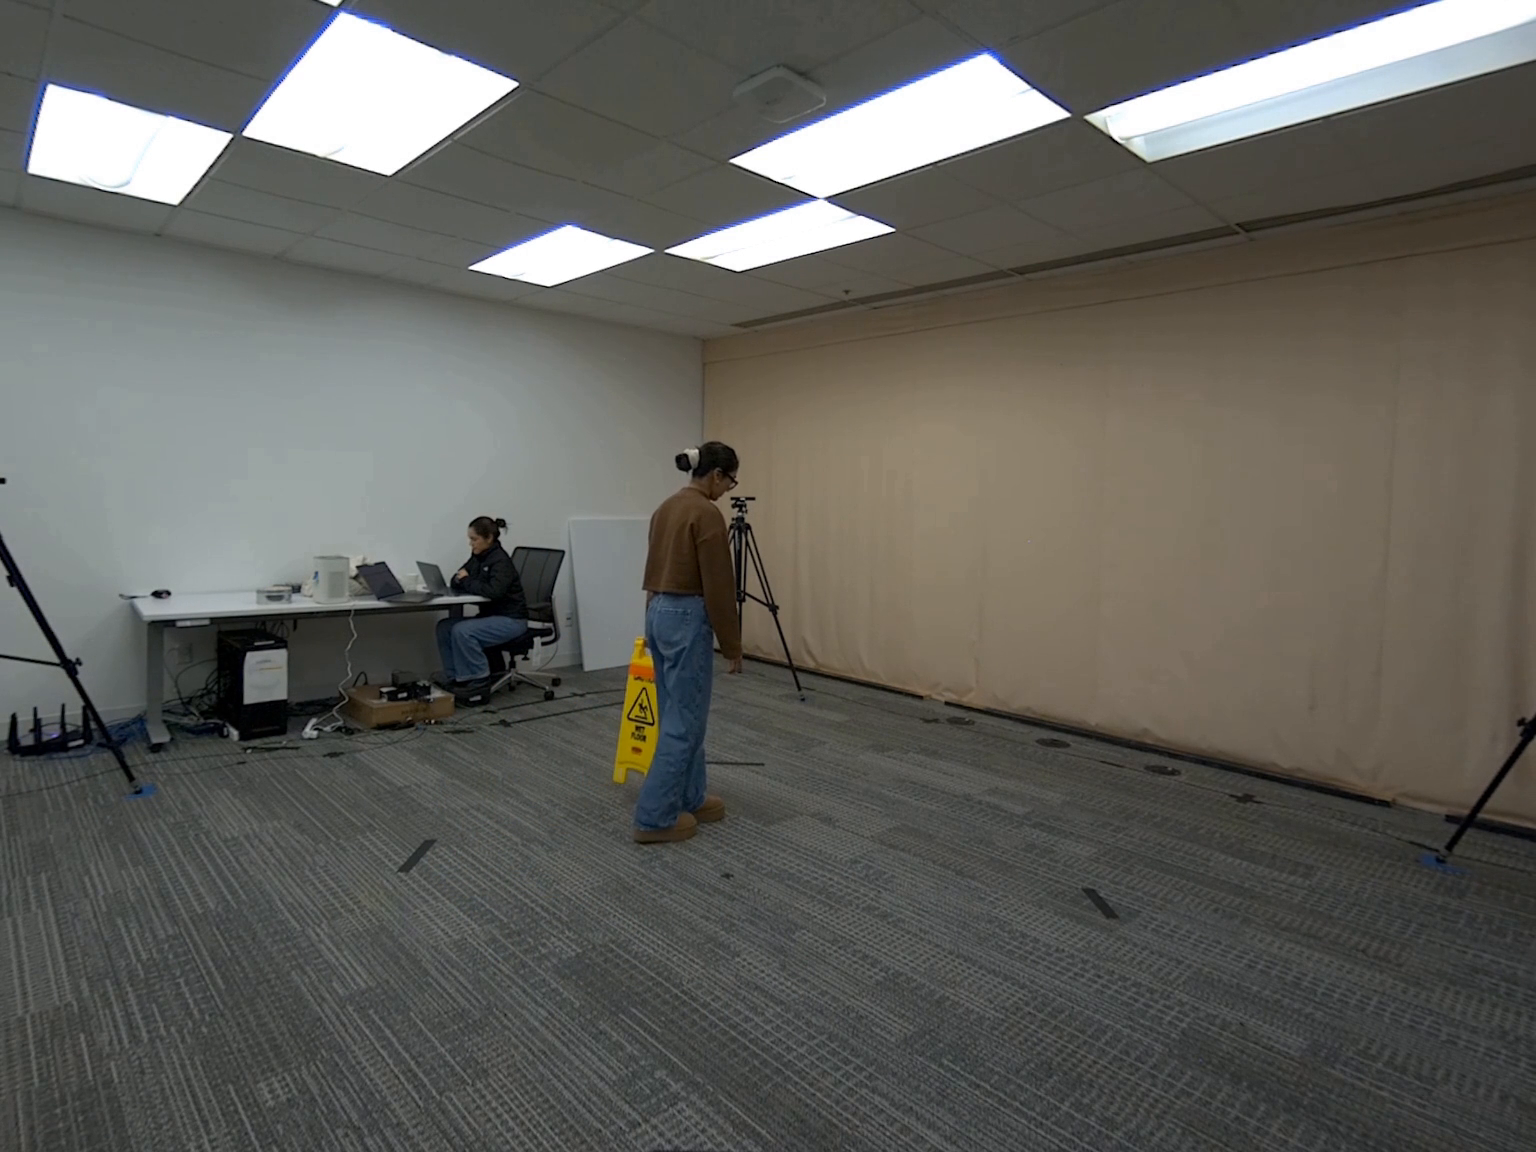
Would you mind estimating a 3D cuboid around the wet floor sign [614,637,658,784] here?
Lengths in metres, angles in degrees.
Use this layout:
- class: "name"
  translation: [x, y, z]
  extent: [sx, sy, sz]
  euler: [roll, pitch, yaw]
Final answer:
- class: "wet floor sign"
  translation: [-0.535, 0.608, 3.833]
  extent: [0.289, 0.644, 0.283]
  euler: [2, 5, 39]
